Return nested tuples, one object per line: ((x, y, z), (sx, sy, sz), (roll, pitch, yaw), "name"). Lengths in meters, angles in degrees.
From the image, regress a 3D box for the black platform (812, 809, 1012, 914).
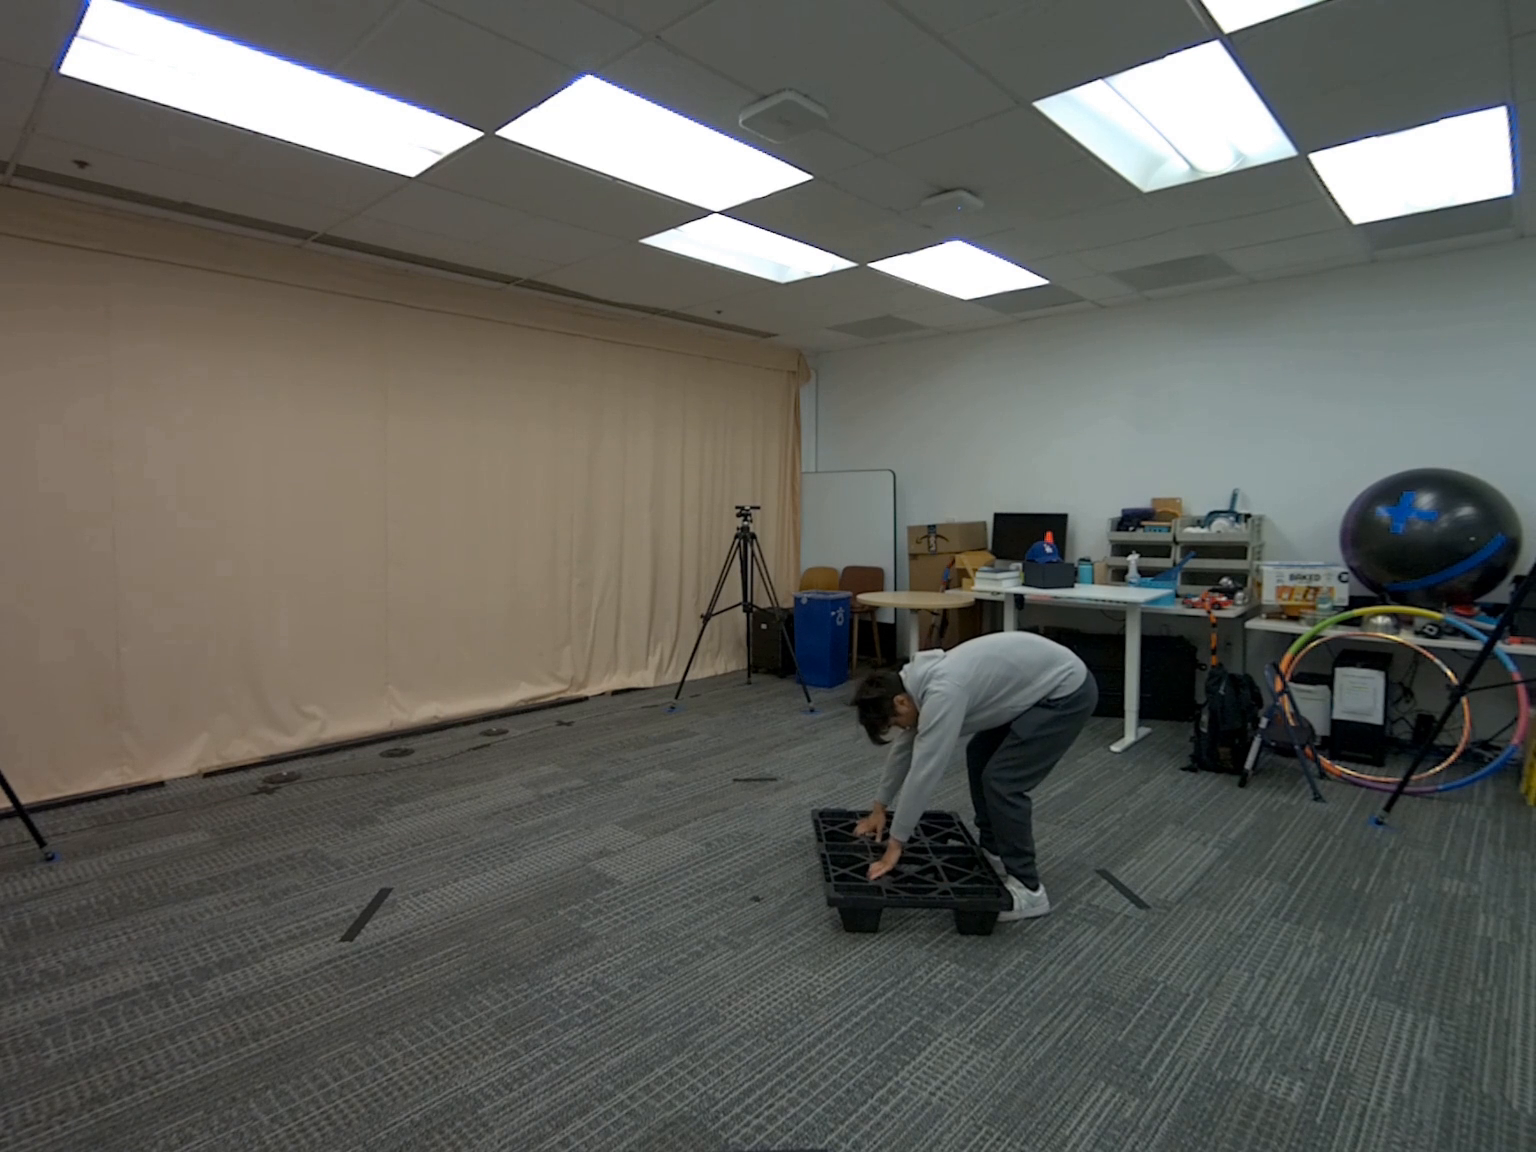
((0.489, 1.066, 3.094), (0.606, 0.143, 0.806), (1, 5, 0), "black platform")
